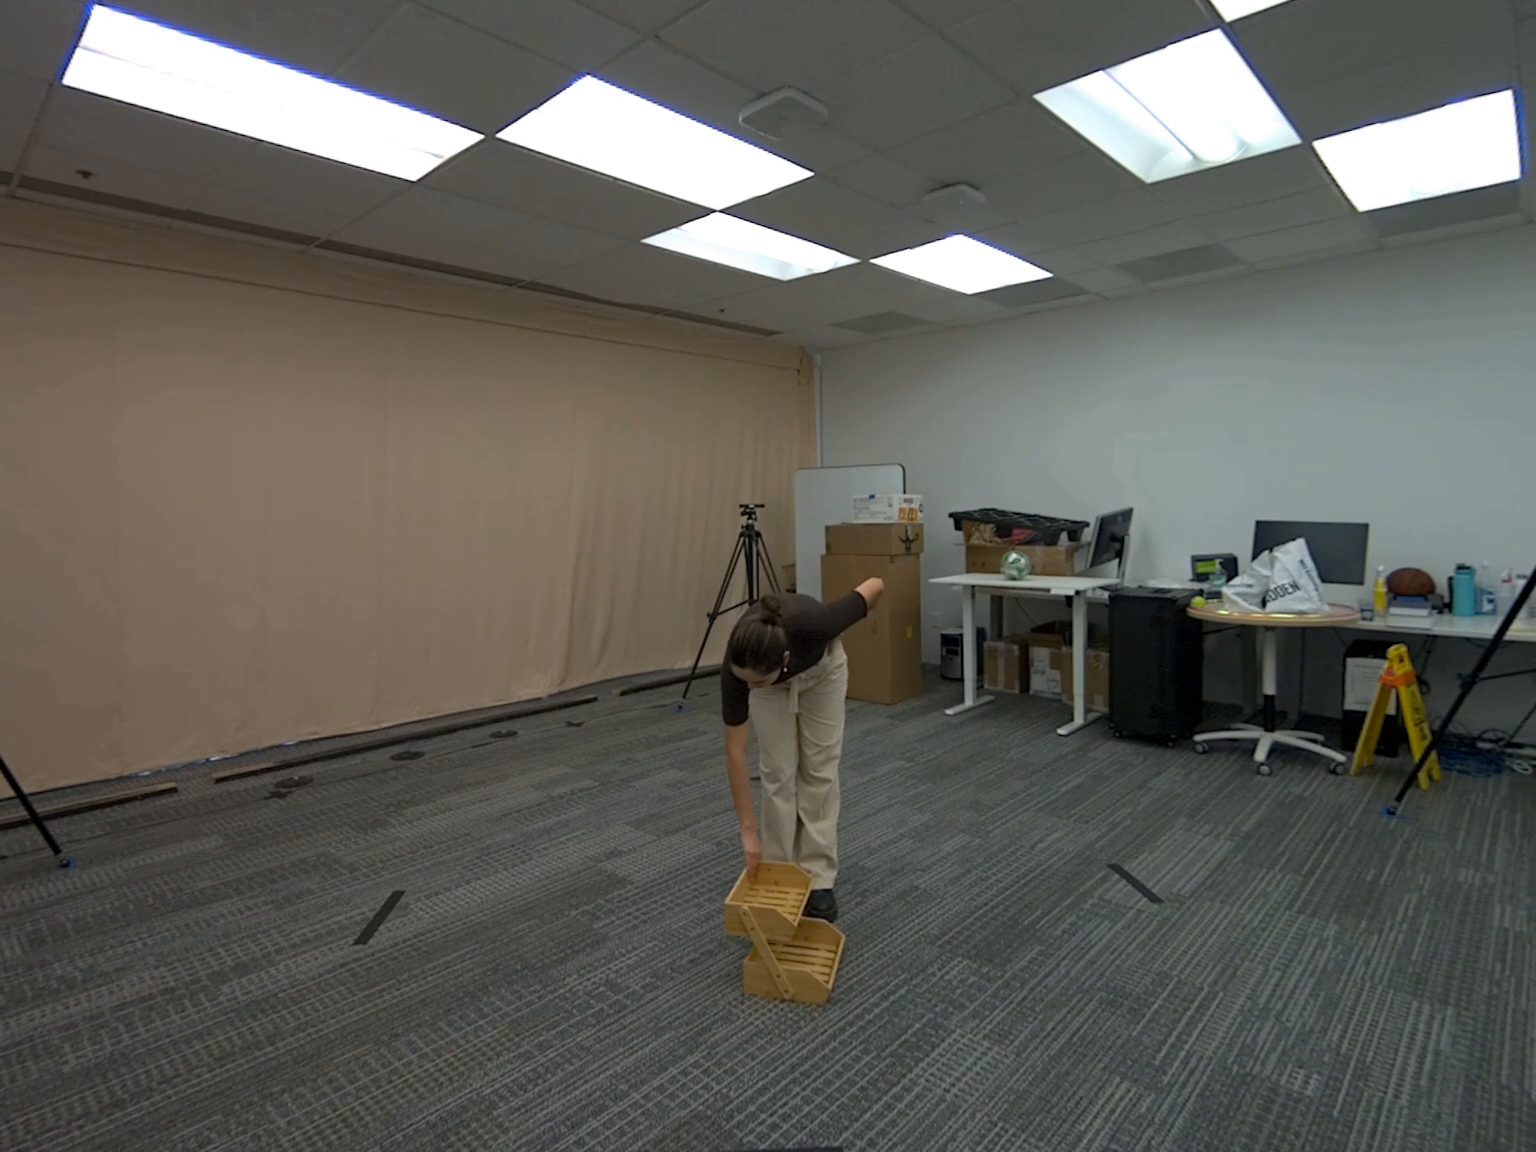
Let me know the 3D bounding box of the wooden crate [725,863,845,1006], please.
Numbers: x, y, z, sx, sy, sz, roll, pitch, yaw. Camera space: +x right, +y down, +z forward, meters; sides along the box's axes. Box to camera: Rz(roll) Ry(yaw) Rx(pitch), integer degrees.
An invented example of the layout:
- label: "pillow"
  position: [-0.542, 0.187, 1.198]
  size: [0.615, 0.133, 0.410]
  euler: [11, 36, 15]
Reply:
- label: "wooden crate"
  position: [0.068, 1.043, 2.509]
  size: [0.306, 0.273, 0.320]
  euler: [-1, 3, 13]
